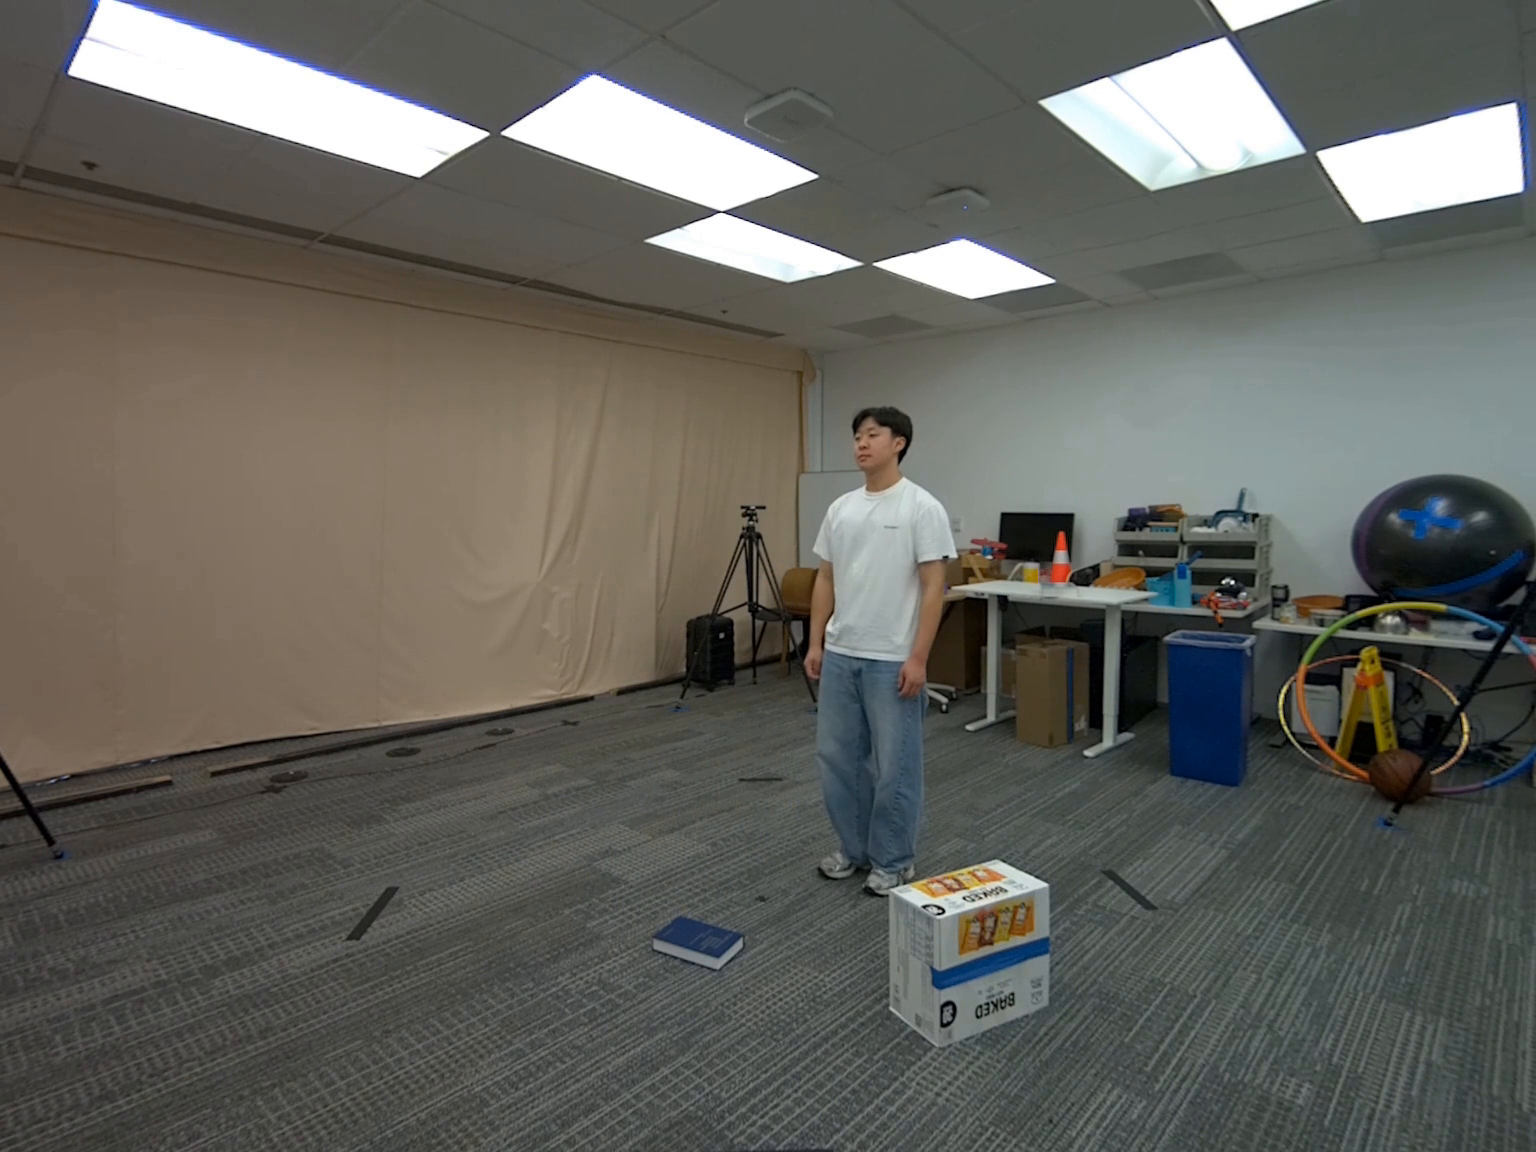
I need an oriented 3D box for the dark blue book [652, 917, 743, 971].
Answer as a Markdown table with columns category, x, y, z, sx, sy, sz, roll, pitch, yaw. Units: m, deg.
| category | x | y | z | sx | sy | sz | roll | pitch | yaw |
| --- | --- | --- | --- | --- | --- | --- | --- | --- | --- |
| dark blue book | -0.219 | 1.152 | 2.637 | 0.252 | 0.045 | 0.159 | 3 | 5 | 29 |
